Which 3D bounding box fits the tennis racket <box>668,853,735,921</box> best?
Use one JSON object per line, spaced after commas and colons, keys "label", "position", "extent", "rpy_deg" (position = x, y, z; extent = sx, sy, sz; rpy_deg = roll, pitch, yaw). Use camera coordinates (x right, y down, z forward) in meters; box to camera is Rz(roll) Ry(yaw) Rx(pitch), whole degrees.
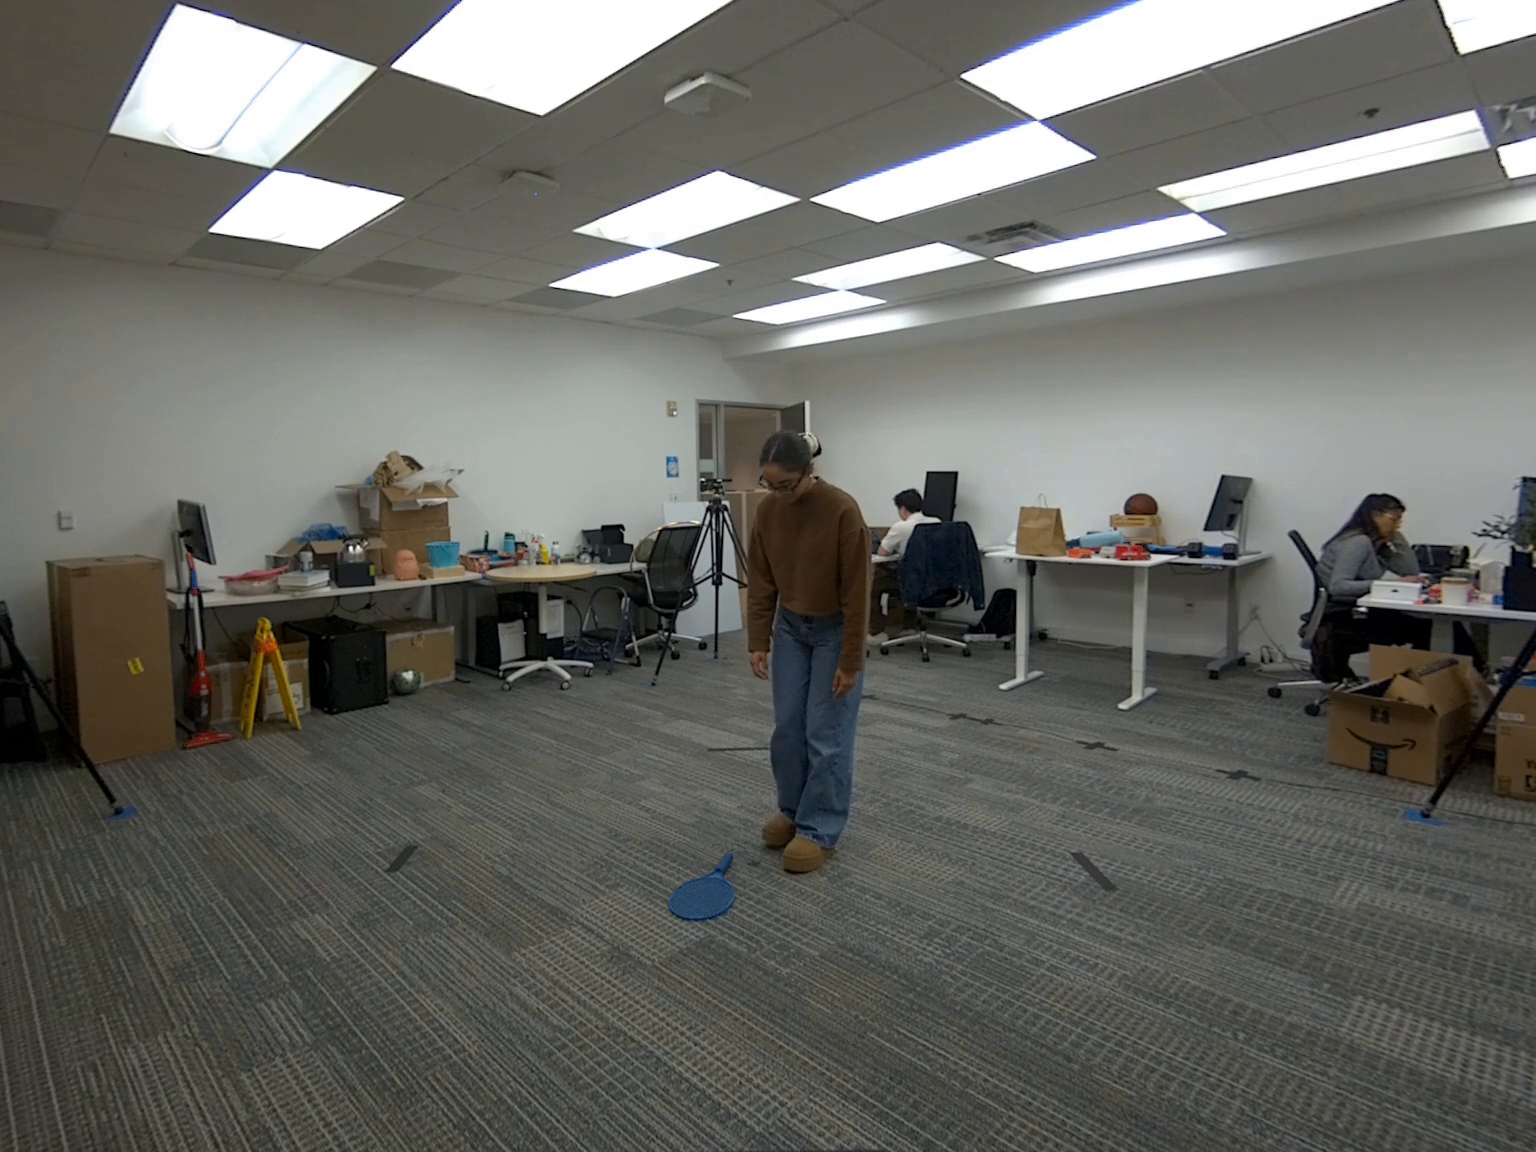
{"label": "tennis racket", "position": [-0.191, 1.055, 2.915], "extent": [0.217, 0.031, 0.428], "rpy_deg": [1, 8, 16]}
